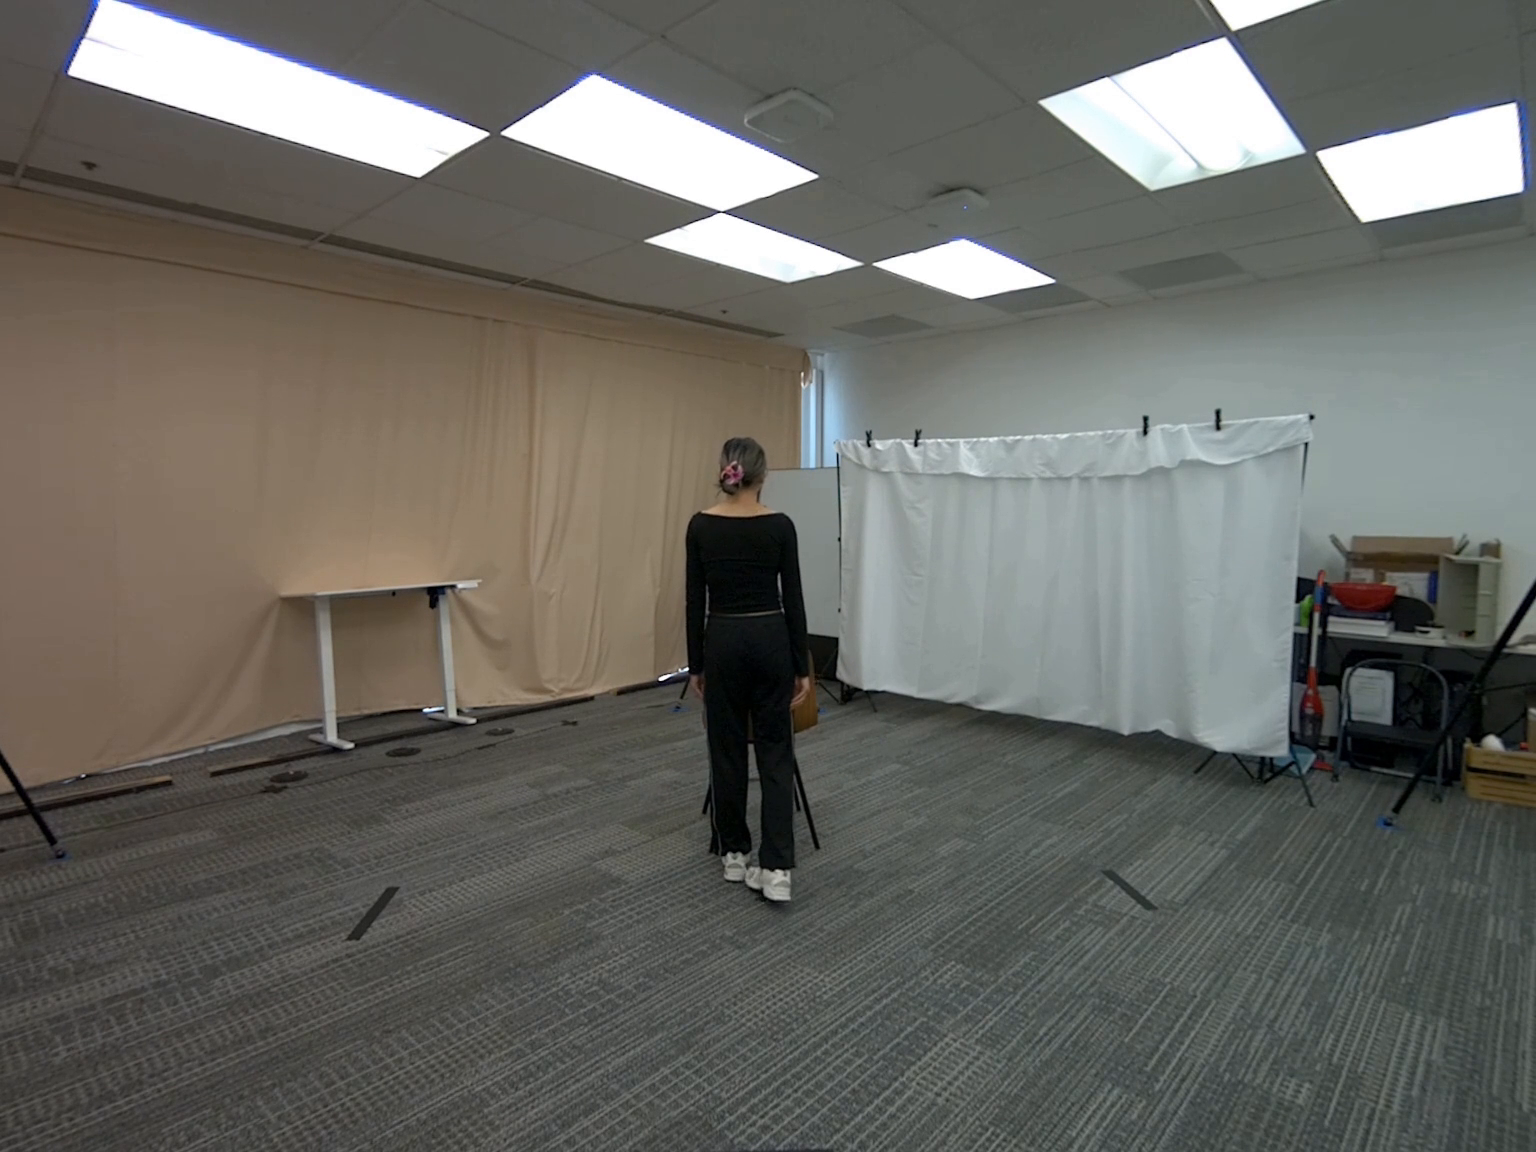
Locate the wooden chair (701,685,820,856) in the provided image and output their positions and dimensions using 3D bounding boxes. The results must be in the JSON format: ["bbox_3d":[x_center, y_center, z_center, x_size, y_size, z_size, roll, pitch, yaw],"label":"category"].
[{"bbox_3d":[-0.050,0.664,3.596,0.475,0.873,0.528,-1,7,-6],"label":"wooden chair"}]
